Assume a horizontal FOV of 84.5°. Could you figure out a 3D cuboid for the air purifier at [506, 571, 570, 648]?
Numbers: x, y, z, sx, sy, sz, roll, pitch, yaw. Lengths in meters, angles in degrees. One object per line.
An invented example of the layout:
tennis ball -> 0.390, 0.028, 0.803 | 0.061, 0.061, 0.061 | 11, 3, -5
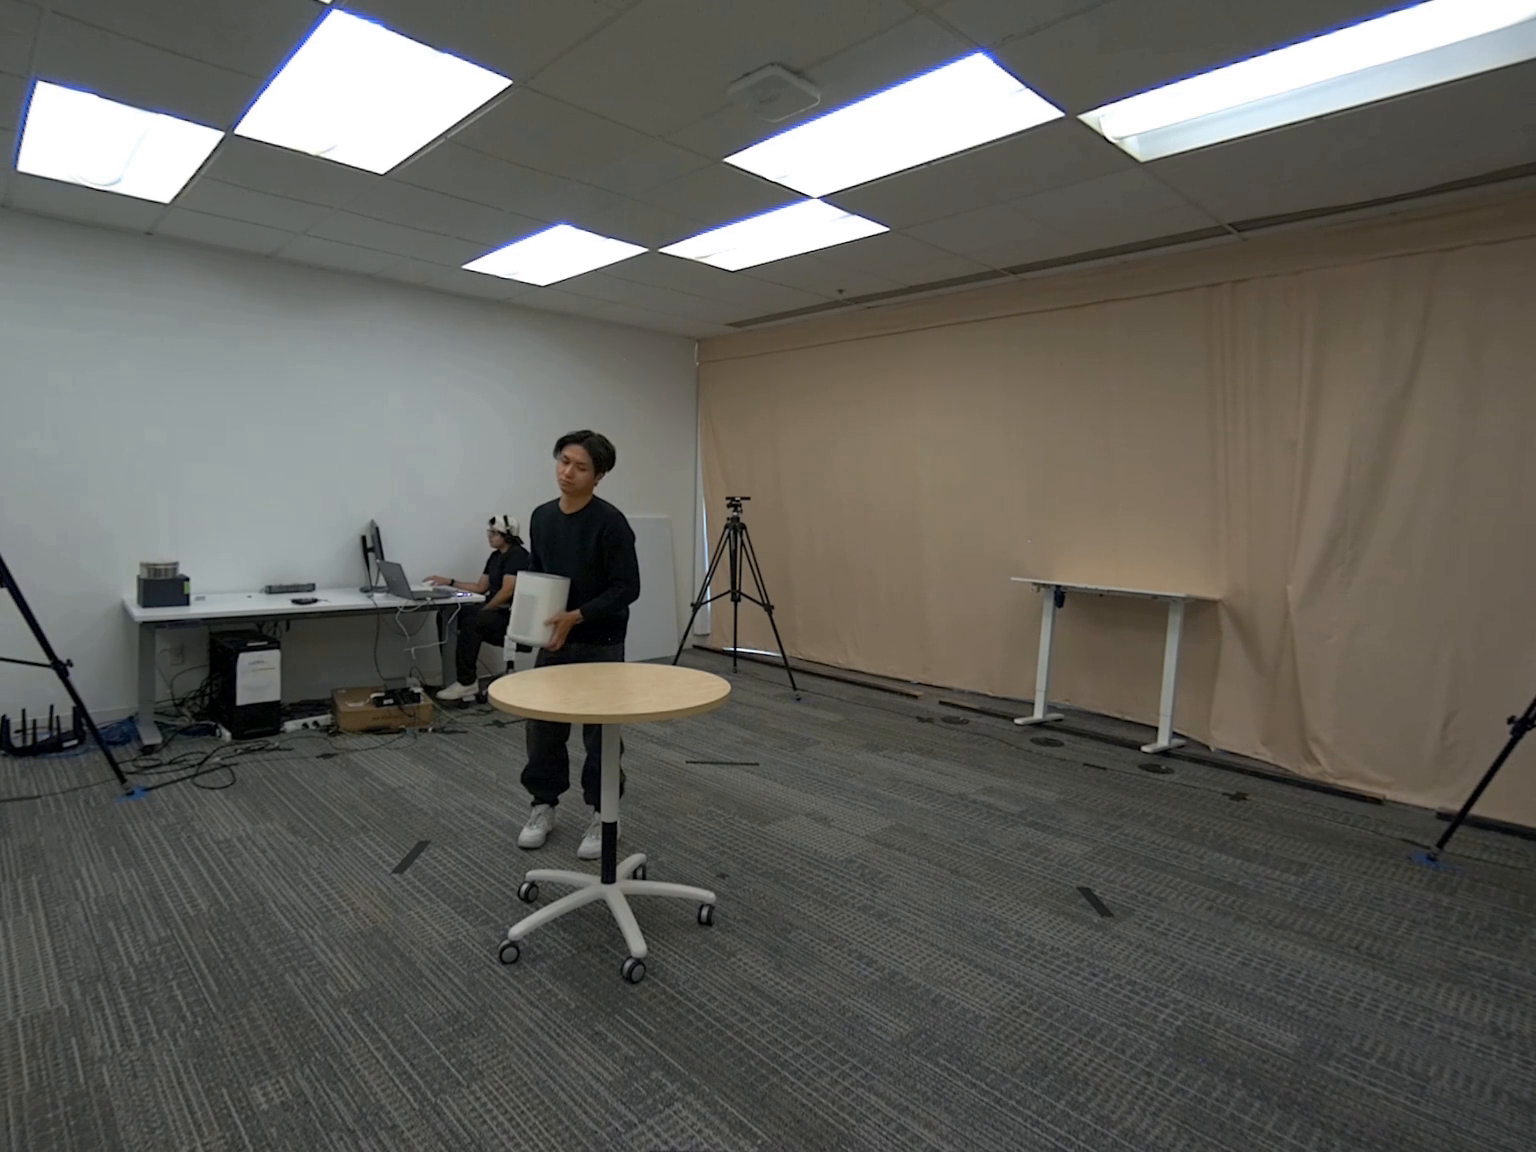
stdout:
air purifier -> -0.883, 0.130, 3.179 | 0.174, 0.265, 0.168 | 9, -1, 19
